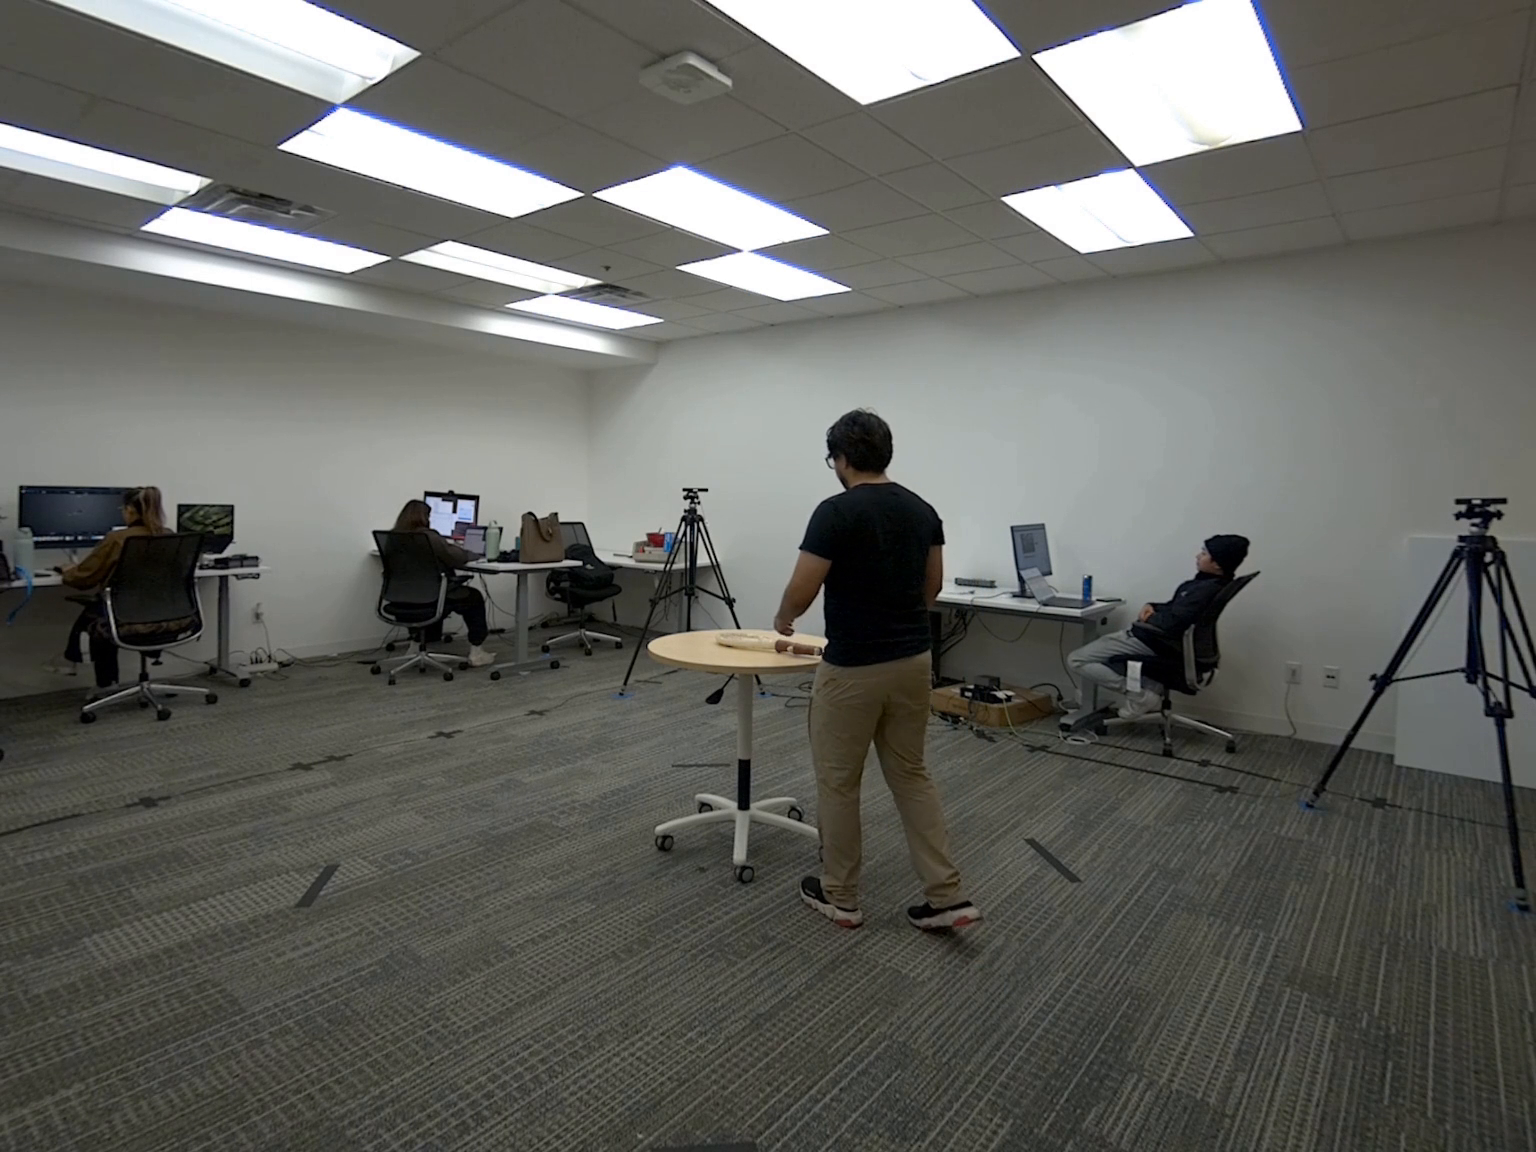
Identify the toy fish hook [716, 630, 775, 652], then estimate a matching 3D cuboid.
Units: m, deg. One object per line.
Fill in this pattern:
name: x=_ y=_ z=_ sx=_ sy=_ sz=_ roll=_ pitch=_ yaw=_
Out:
toy fish hook: x=0.014 y=0.253 z=3.264 sx=0.524 sy=0.048 sz=0.218 roll=6 pitch=9 yaw=39
